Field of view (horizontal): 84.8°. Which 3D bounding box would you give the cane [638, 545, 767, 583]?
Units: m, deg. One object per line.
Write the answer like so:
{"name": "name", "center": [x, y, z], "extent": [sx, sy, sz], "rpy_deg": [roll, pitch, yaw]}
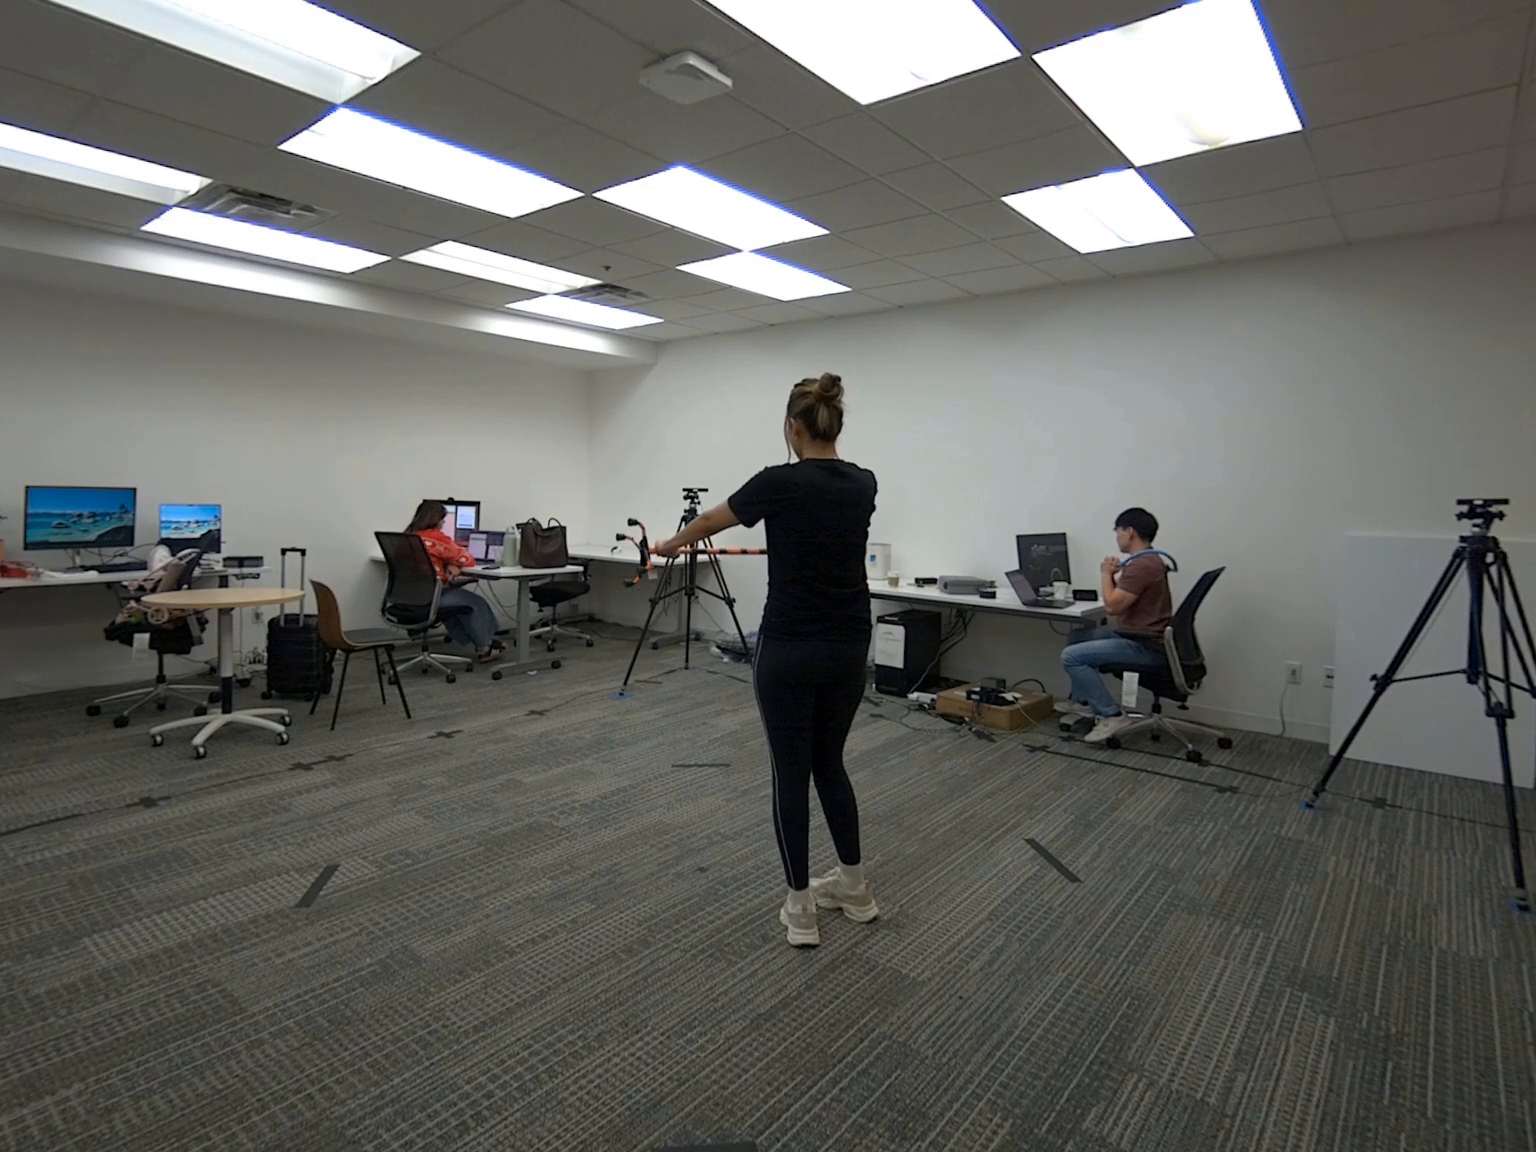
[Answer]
{"name": "cane", "center": [-0.100, -0.090, 3.133], "extent": [0.885, 0.211, 0.152], "rpy_deg": [0, -24, -27]}
